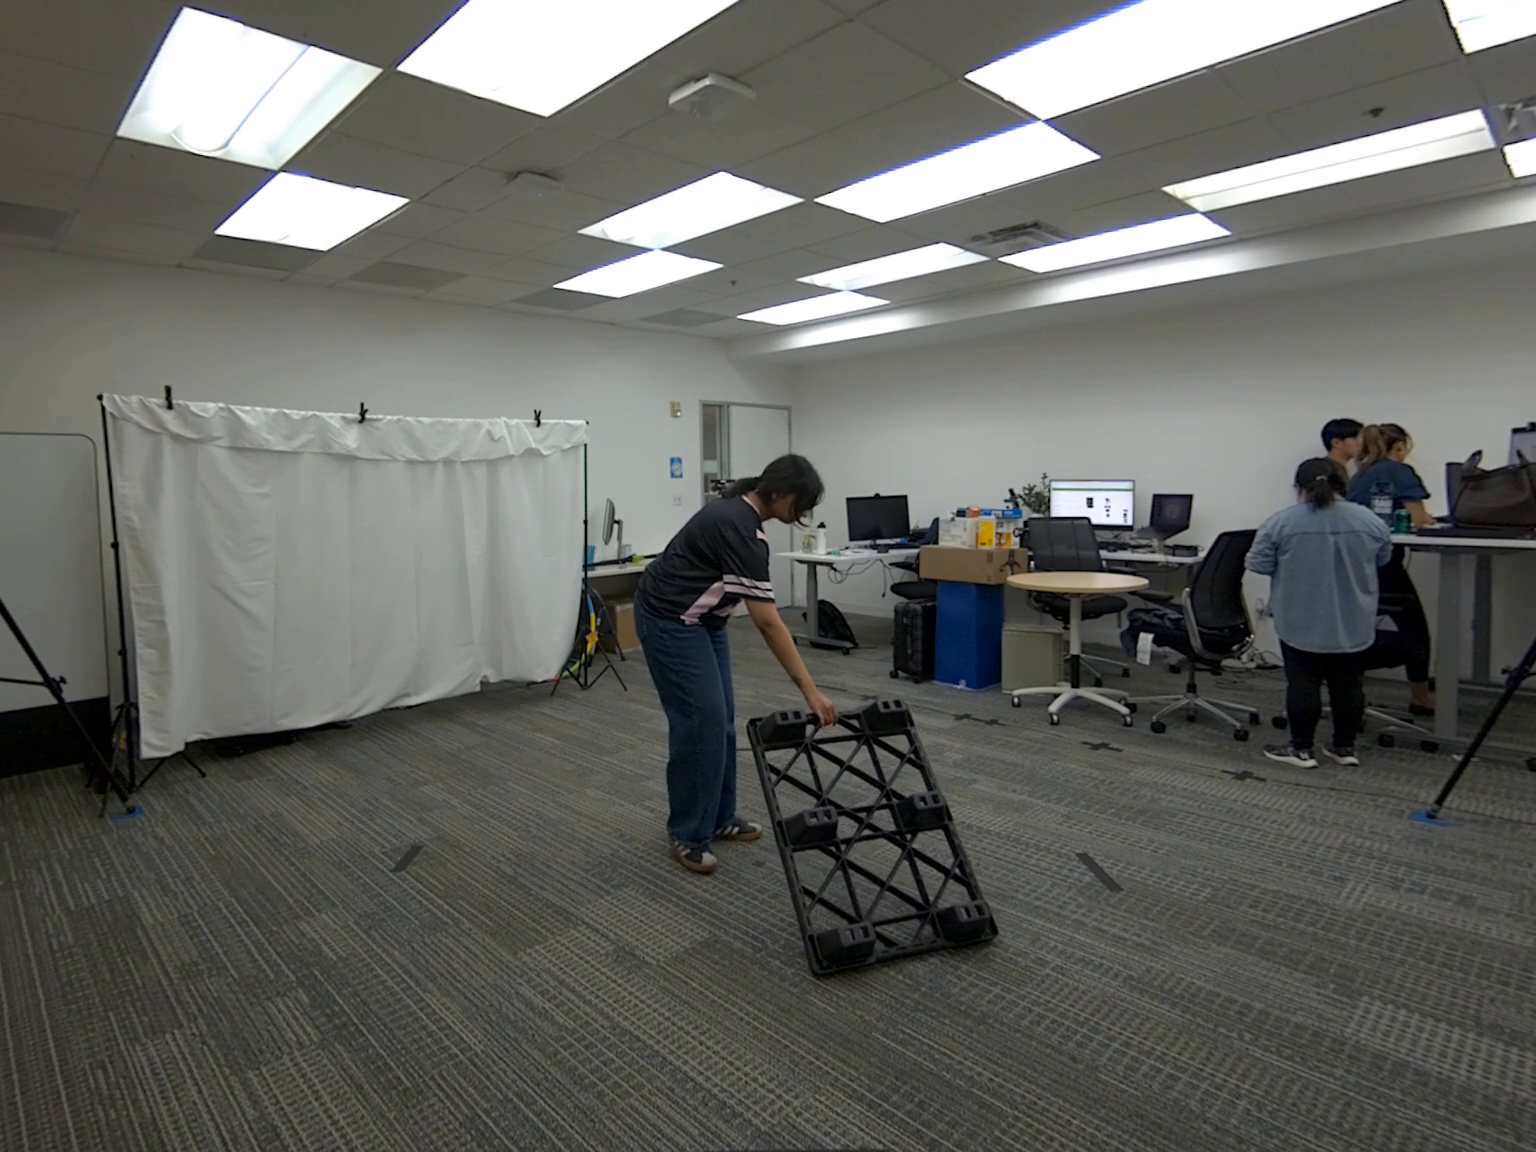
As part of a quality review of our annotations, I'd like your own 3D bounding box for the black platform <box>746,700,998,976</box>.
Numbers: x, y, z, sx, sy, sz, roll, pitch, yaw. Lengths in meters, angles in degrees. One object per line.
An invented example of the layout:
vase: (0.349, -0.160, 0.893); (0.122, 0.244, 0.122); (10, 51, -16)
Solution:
black platform: (0.317, 0.760, 2.678); (0.595, 0.833, 0.141); (-3, -39, -18)
